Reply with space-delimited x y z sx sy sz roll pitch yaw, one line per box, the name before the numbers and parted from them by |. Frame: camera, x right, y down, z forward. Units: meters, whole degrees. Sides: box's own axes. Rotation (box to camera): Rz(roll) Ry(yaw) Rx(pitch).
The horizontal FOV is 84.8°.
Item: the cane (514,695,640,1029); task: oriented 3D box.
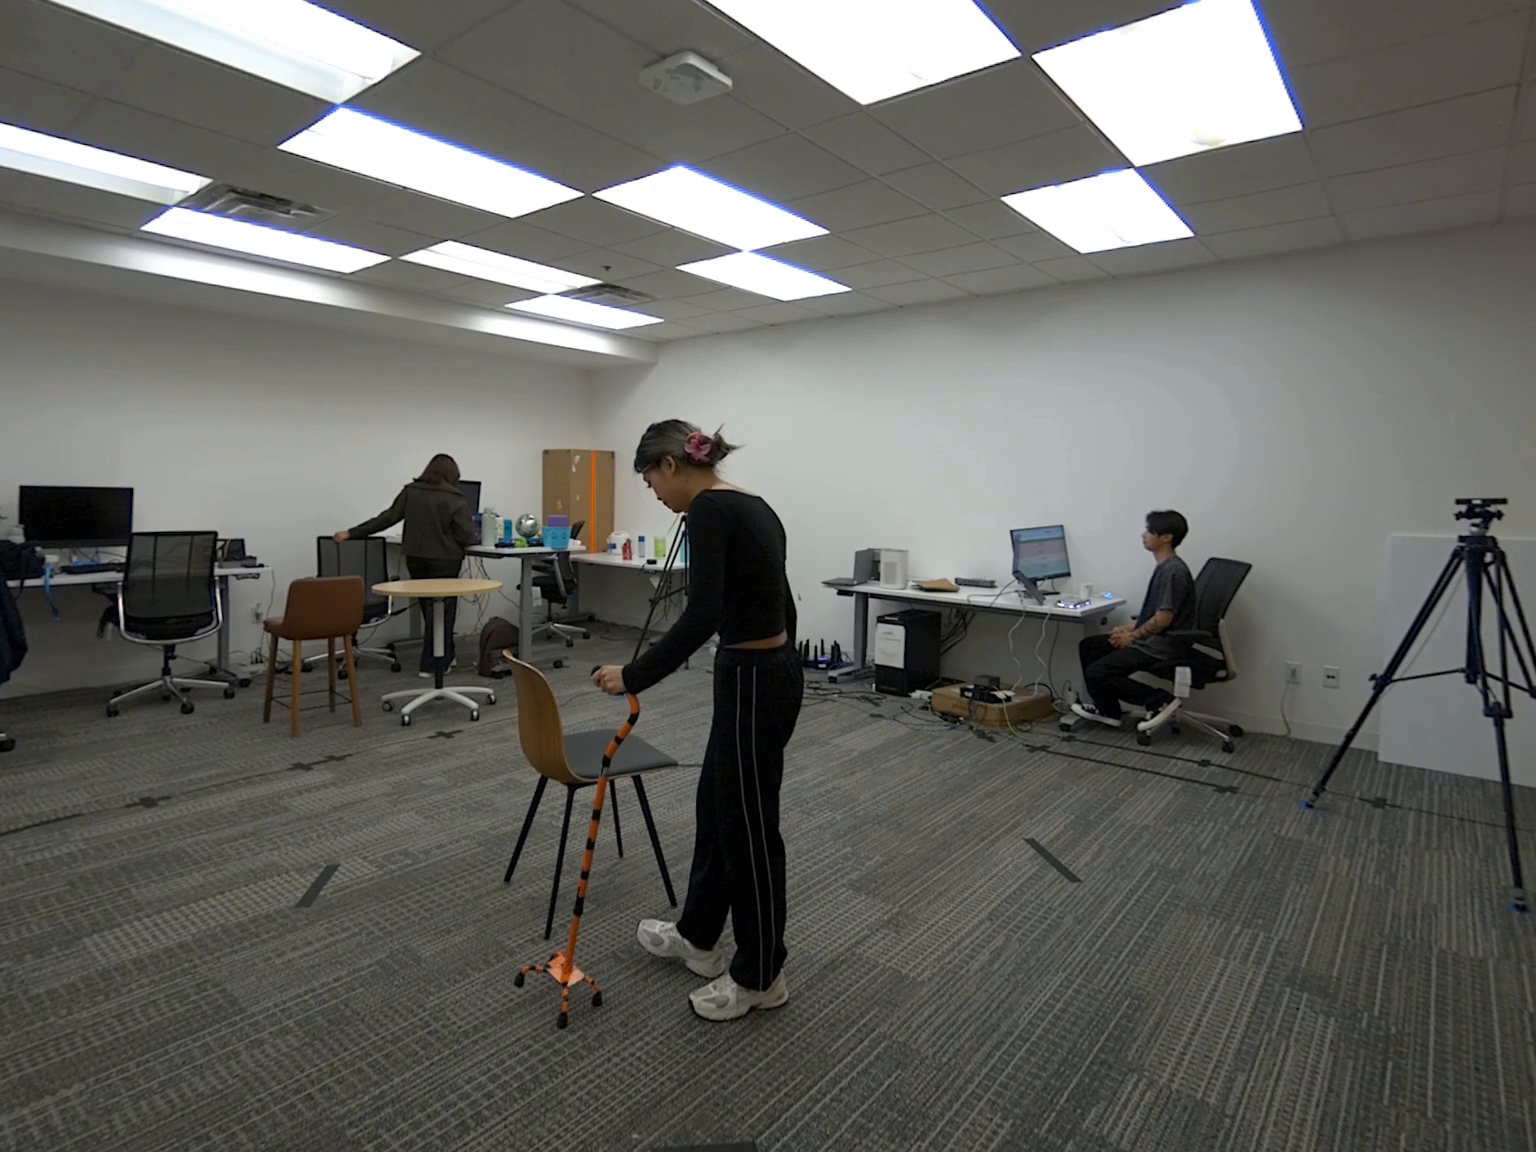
cane | -0.475 0.684 2.196 0.214 0.902 0.147 19 11 33
